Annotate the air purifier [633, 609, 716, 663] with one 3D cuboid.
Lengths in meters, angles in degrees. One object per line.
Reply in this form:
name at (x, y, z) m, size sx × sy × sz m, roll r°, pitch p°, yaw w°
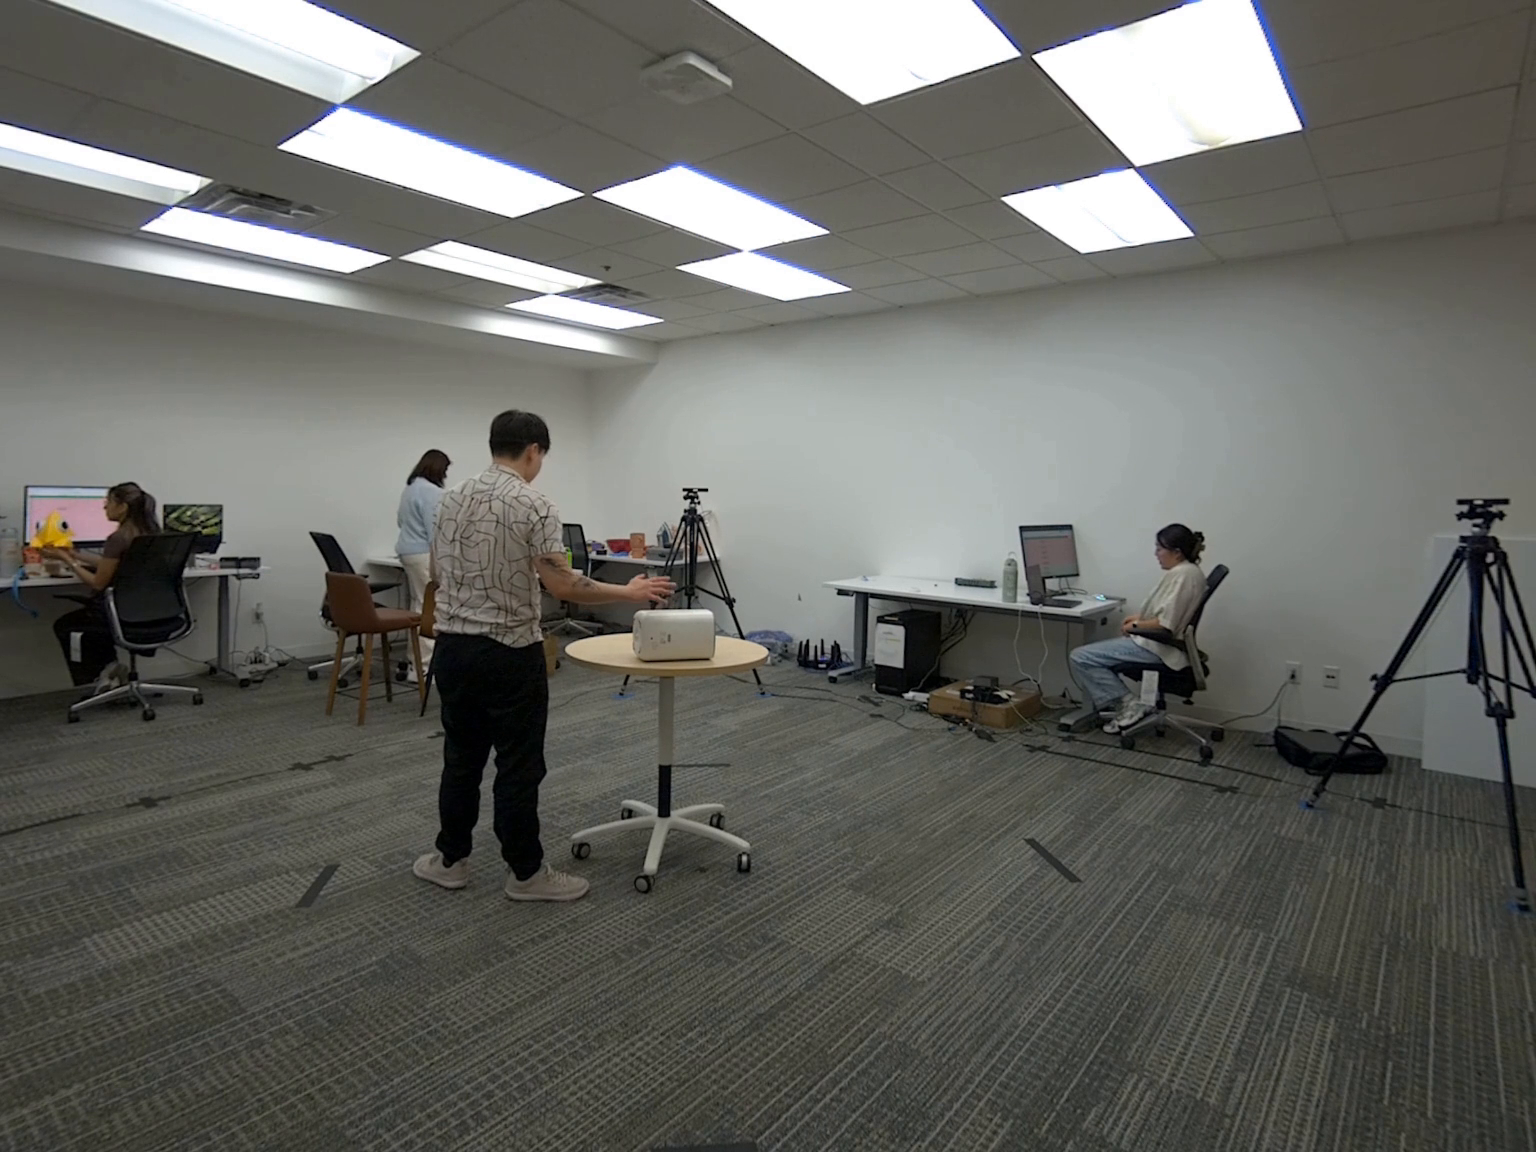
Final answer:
air purifier at (-0.348, 0.207, 3.019) m, size 0.260 × 0.170 × 0.176 m, roll 0°, pitch 4°, yaw -20°
